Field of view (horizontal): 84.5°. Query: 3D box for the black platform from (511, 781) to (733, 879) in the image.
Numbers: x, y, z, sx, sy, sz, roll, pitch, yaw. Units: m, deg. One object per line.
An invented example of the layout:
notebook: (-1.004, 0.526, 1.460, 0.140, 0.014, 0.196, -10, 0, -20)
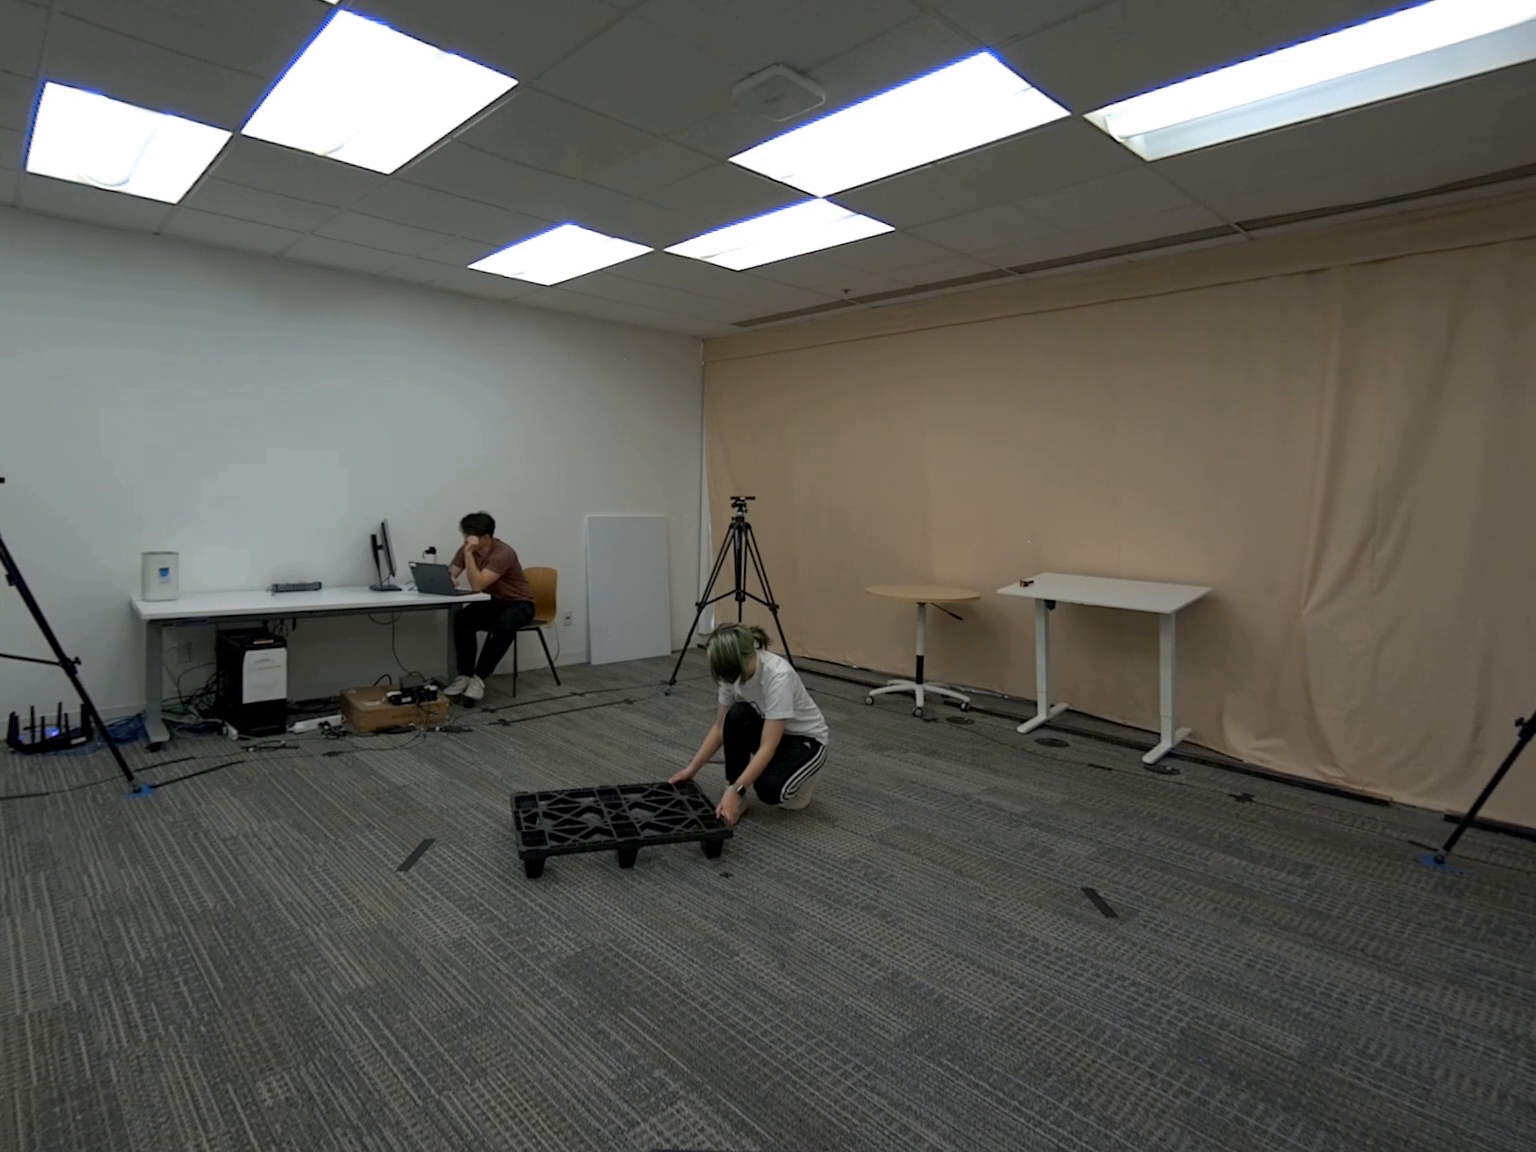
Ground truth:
black platform: (-0.614, 1.004, 3.359, 0.794, 0.143, 0.616, -1, 6, -19)
